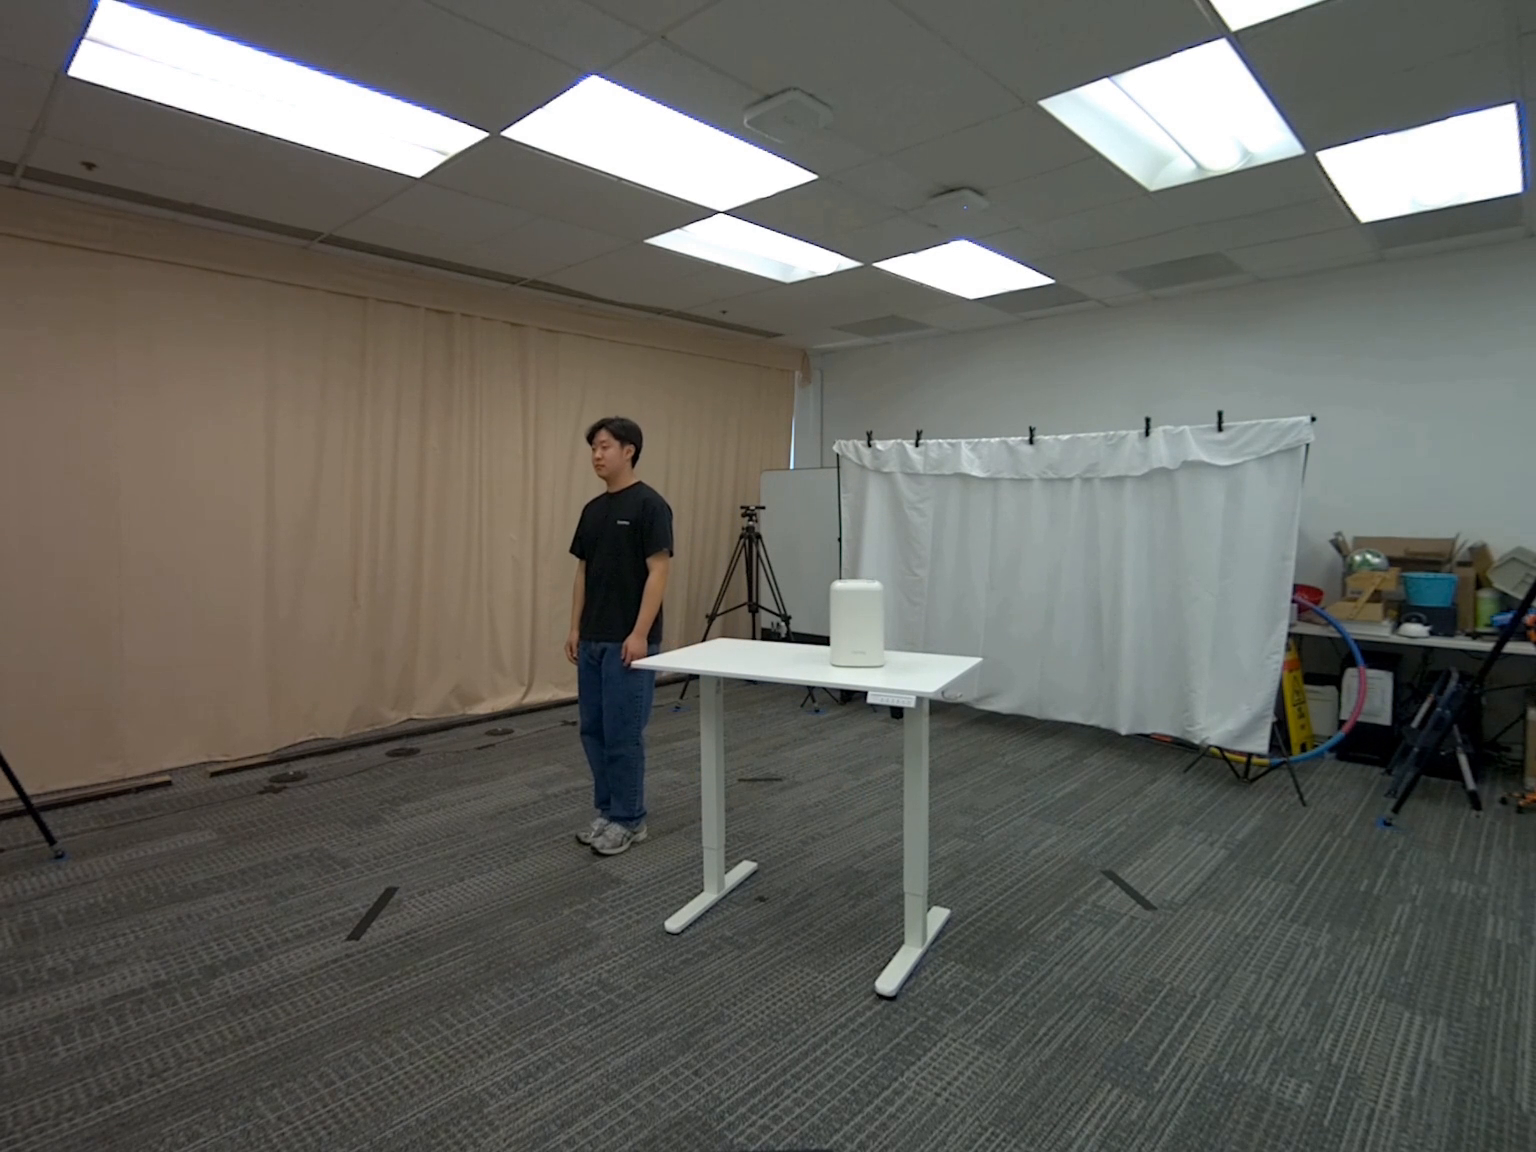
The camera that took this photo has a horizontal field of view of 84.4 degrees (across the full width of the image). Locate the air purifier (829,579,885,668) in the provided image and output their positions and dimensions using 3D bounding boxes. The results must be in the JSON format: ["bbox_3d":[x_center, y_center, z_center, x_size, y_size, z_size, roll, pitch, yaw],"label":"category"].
[{"bbox_3d":[0.295,0.149,2.702,0.172,0.265,0.170,0,2,6],"label":"air purifier"}]
